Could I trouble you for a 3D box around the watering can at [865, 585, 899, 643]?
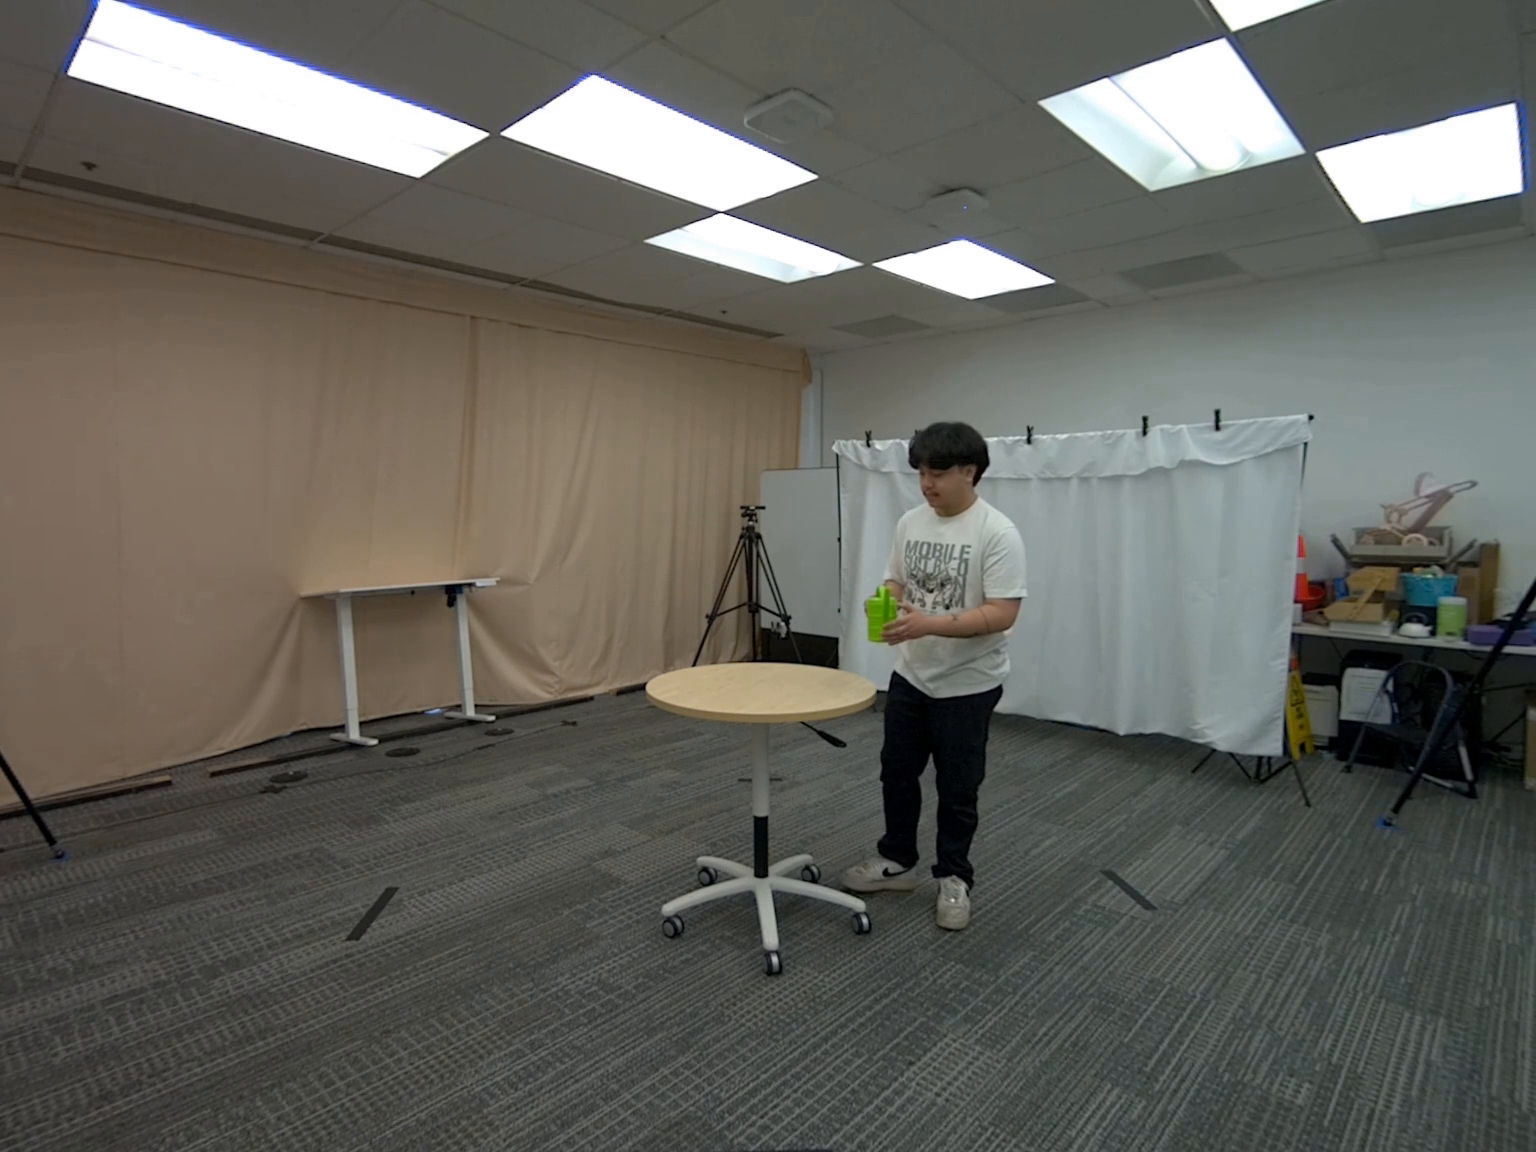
[{"bbox_3d":[0.366,0.128,2.605,0.100,0.177,0.272,-4,-2,19],"label":"watering can"}]
